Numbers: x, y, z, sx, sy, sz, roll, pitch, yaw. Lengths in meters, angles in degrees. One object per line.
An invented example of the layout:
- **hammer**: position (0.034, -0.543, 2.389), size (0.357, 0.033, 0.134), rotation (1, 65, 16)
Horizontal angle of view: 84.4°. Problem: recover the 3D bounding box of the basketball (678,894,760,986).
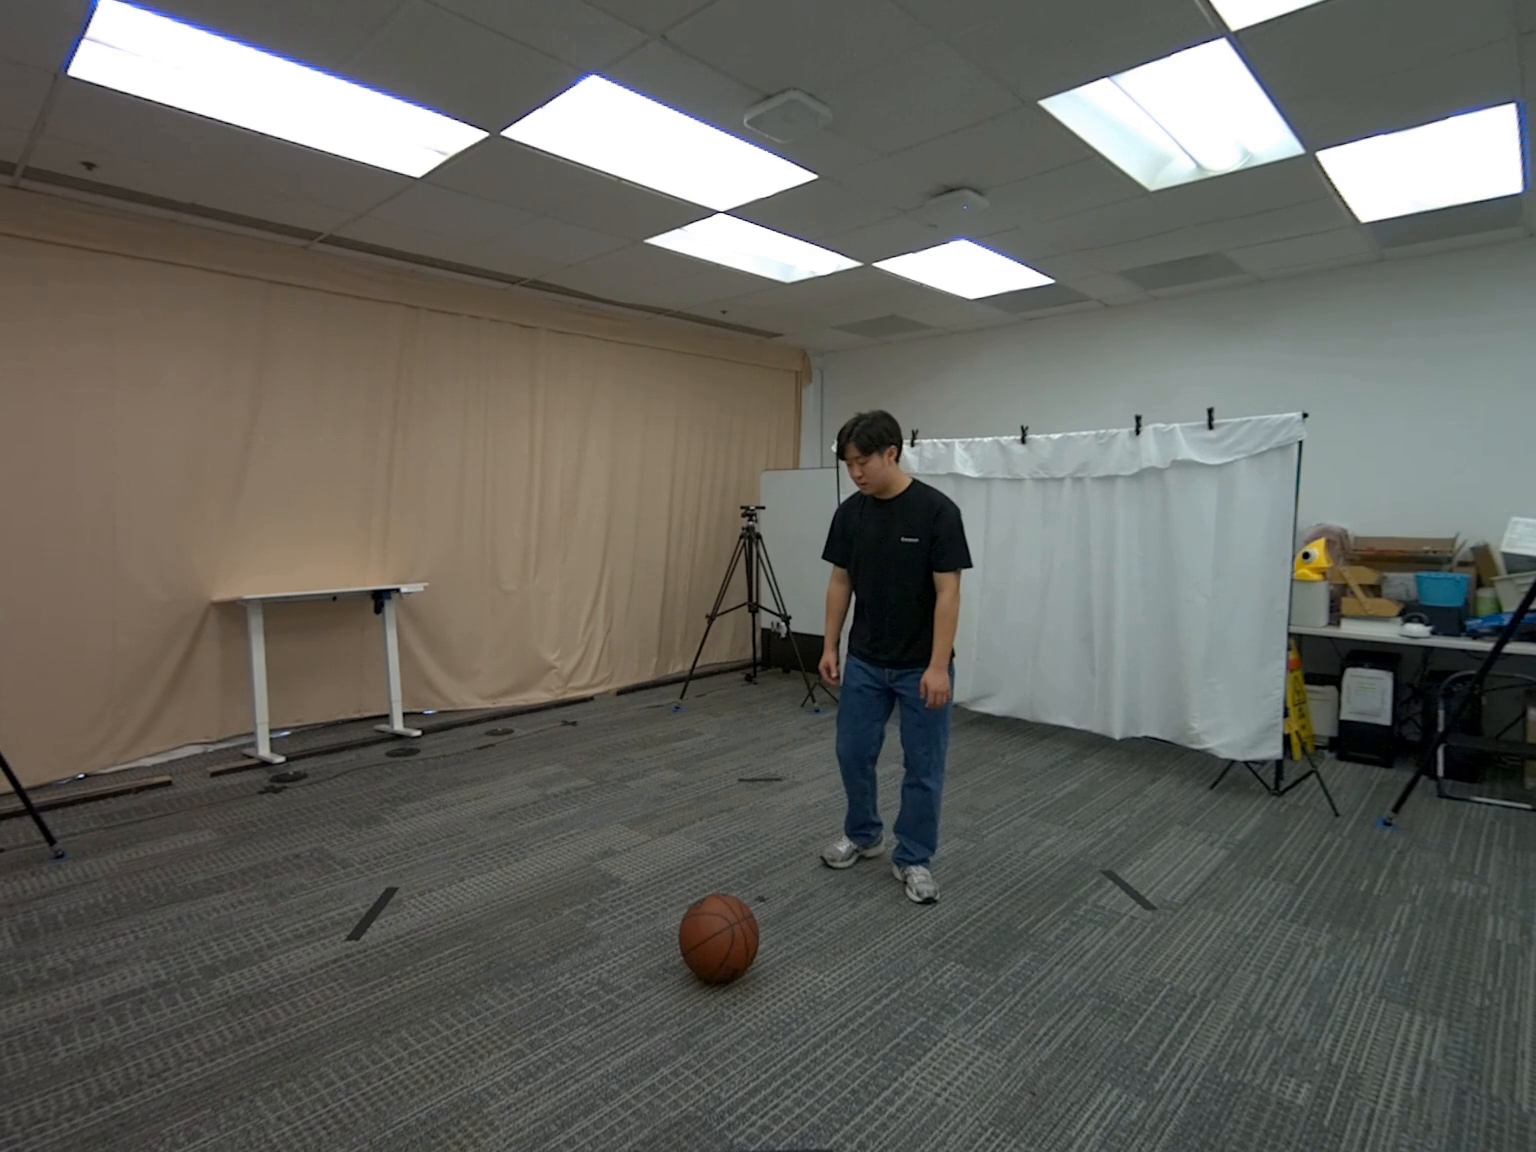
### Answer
- **basketball**: position (-0.144, 1.064, 2.483), size (0.236, 0.235, 0.237), rotation (0, 4, -2)
